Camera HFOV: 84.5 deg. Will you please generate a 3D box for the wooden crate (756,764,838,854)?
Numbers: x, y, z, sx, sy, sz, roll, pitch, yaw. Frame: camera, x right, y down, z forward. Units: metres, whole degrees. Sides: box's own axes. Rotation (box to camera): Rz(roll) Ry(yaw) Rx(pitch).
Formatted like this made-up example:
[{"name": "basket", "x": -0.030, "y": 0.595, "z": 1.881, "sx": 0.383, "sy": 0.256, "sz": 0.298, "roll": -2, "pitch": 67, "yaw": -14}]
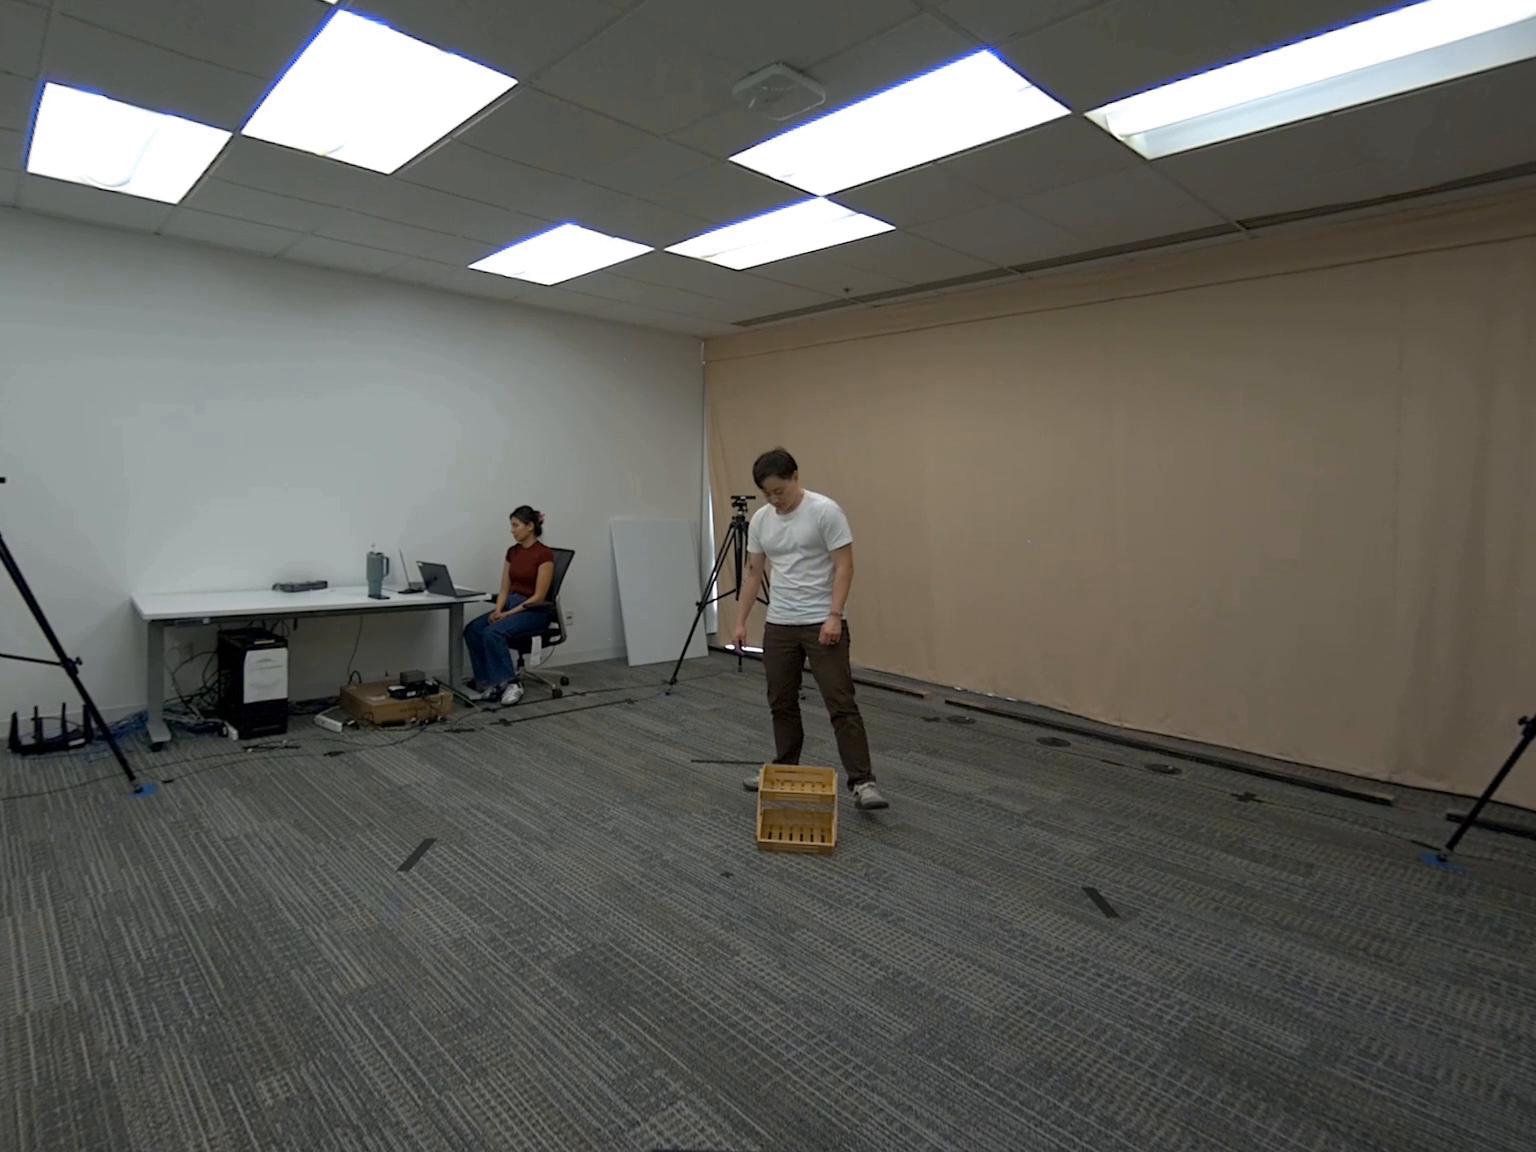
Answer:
[{"name": "wooden crate", "x": 0.112, "y": 0.943, "z": 3.435, "sx": 0.326, "sy": 0.273, "sz": 0.301, "roll": 1, "pitch": 3, "yaw": 4}]
